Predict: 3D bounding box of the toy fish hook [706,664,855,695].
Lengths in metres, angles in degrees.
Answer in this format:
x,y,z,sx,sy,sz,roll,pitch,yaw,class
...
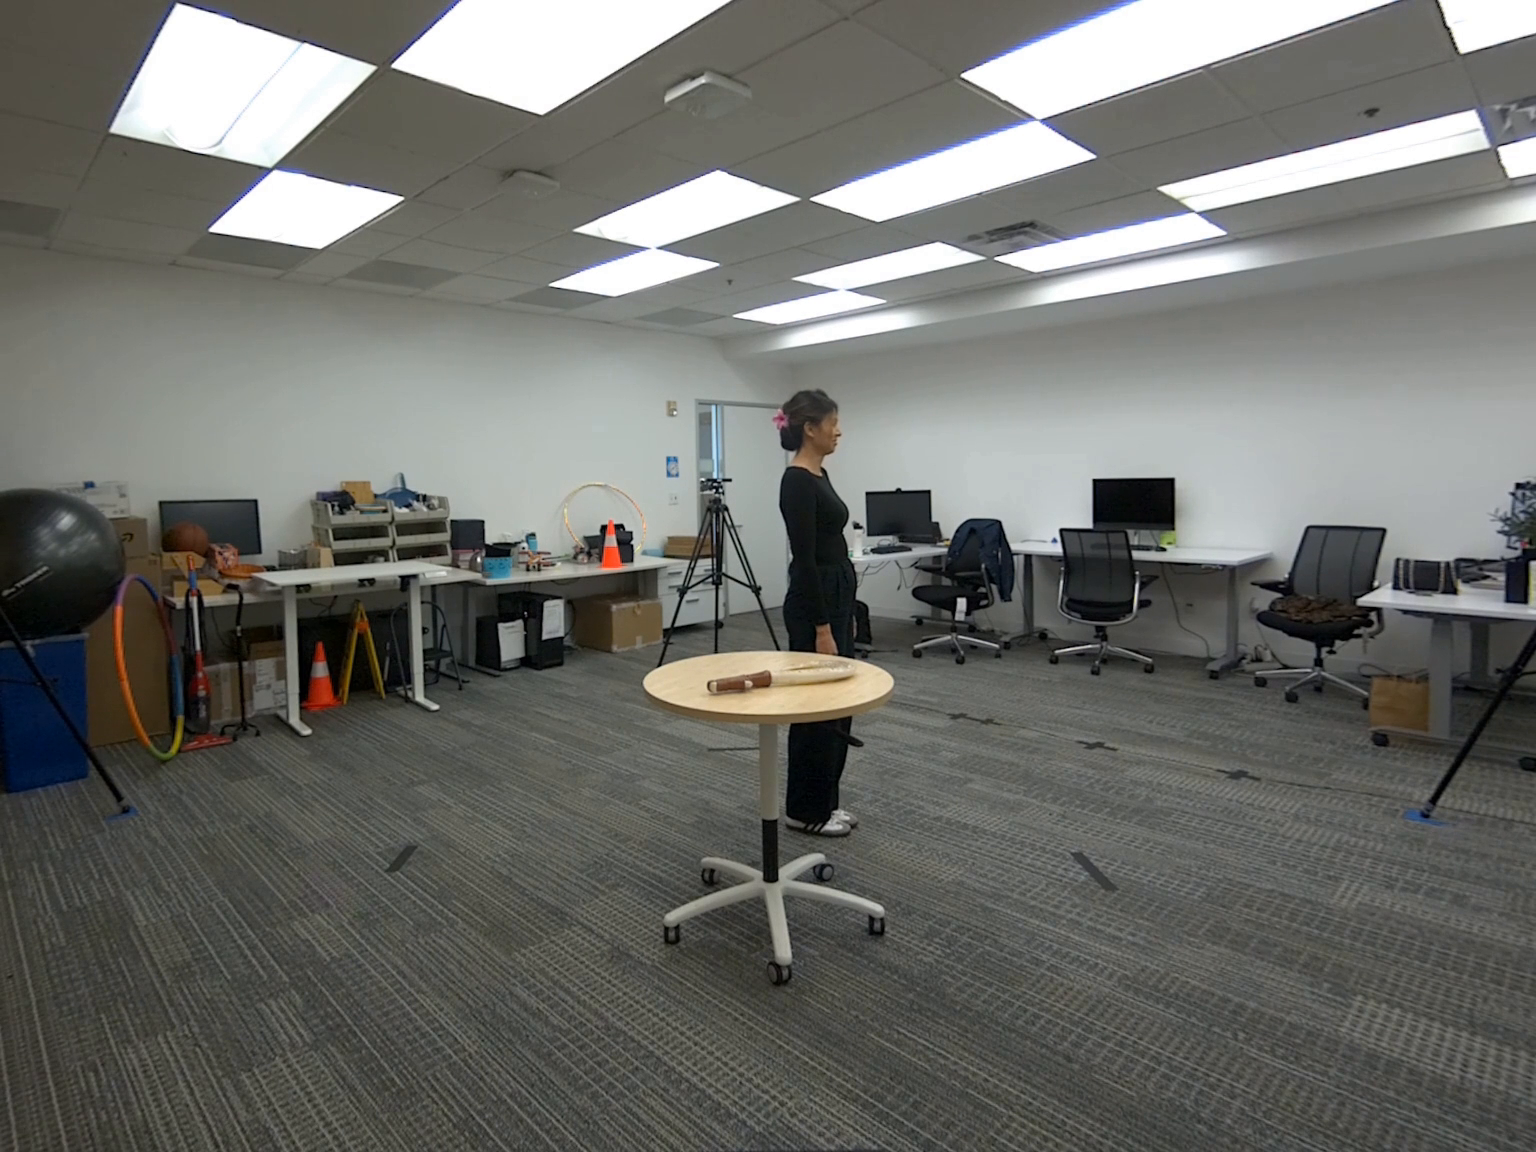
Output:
x,y,z,sx,sy,sz,roll,pitch,yaw,class
0.035,0.309,2.601,0.496,0.048,0.229,-3,-2,-25,toy fish hook
